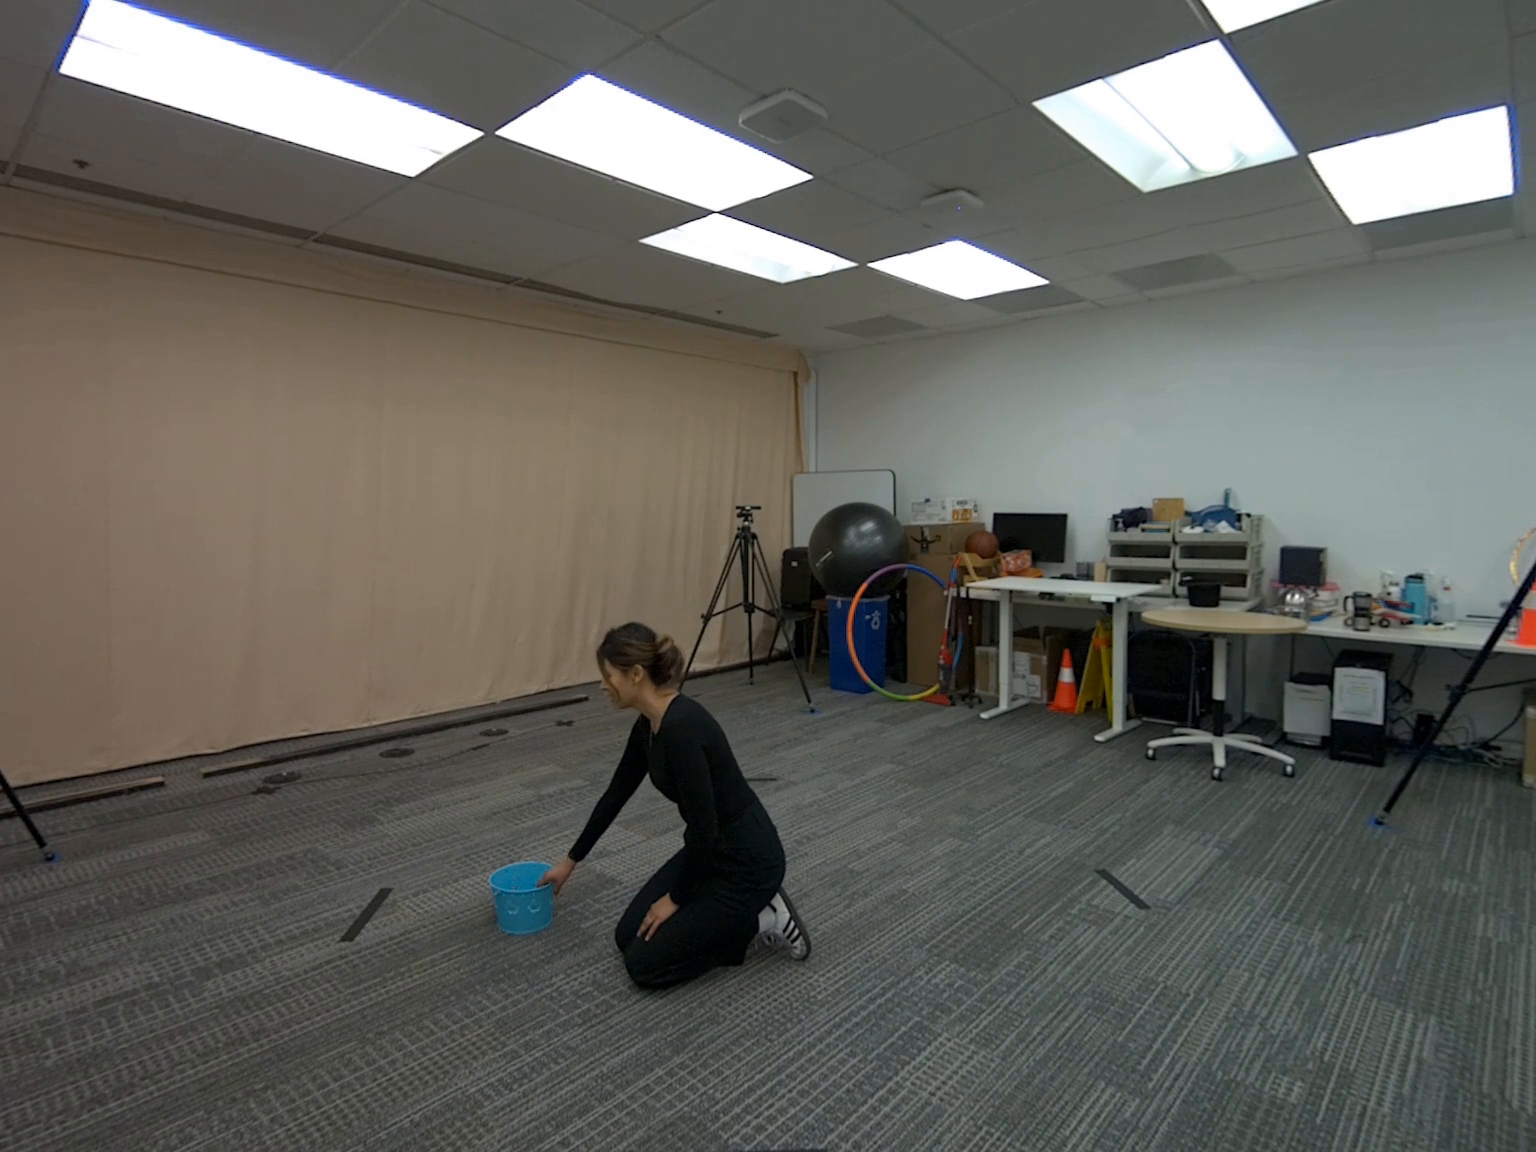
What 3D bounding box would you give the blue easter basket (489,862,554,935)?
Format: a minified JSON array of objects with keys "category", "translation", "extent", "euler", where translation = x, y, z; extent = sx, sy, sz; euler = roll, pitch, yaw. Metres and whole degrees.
[{"category":"blue easter basket","translation":[-0.821,1.086,2.836],"extent":[0.243,0.155,0.244],"euler":[-1,3,-2]}]
